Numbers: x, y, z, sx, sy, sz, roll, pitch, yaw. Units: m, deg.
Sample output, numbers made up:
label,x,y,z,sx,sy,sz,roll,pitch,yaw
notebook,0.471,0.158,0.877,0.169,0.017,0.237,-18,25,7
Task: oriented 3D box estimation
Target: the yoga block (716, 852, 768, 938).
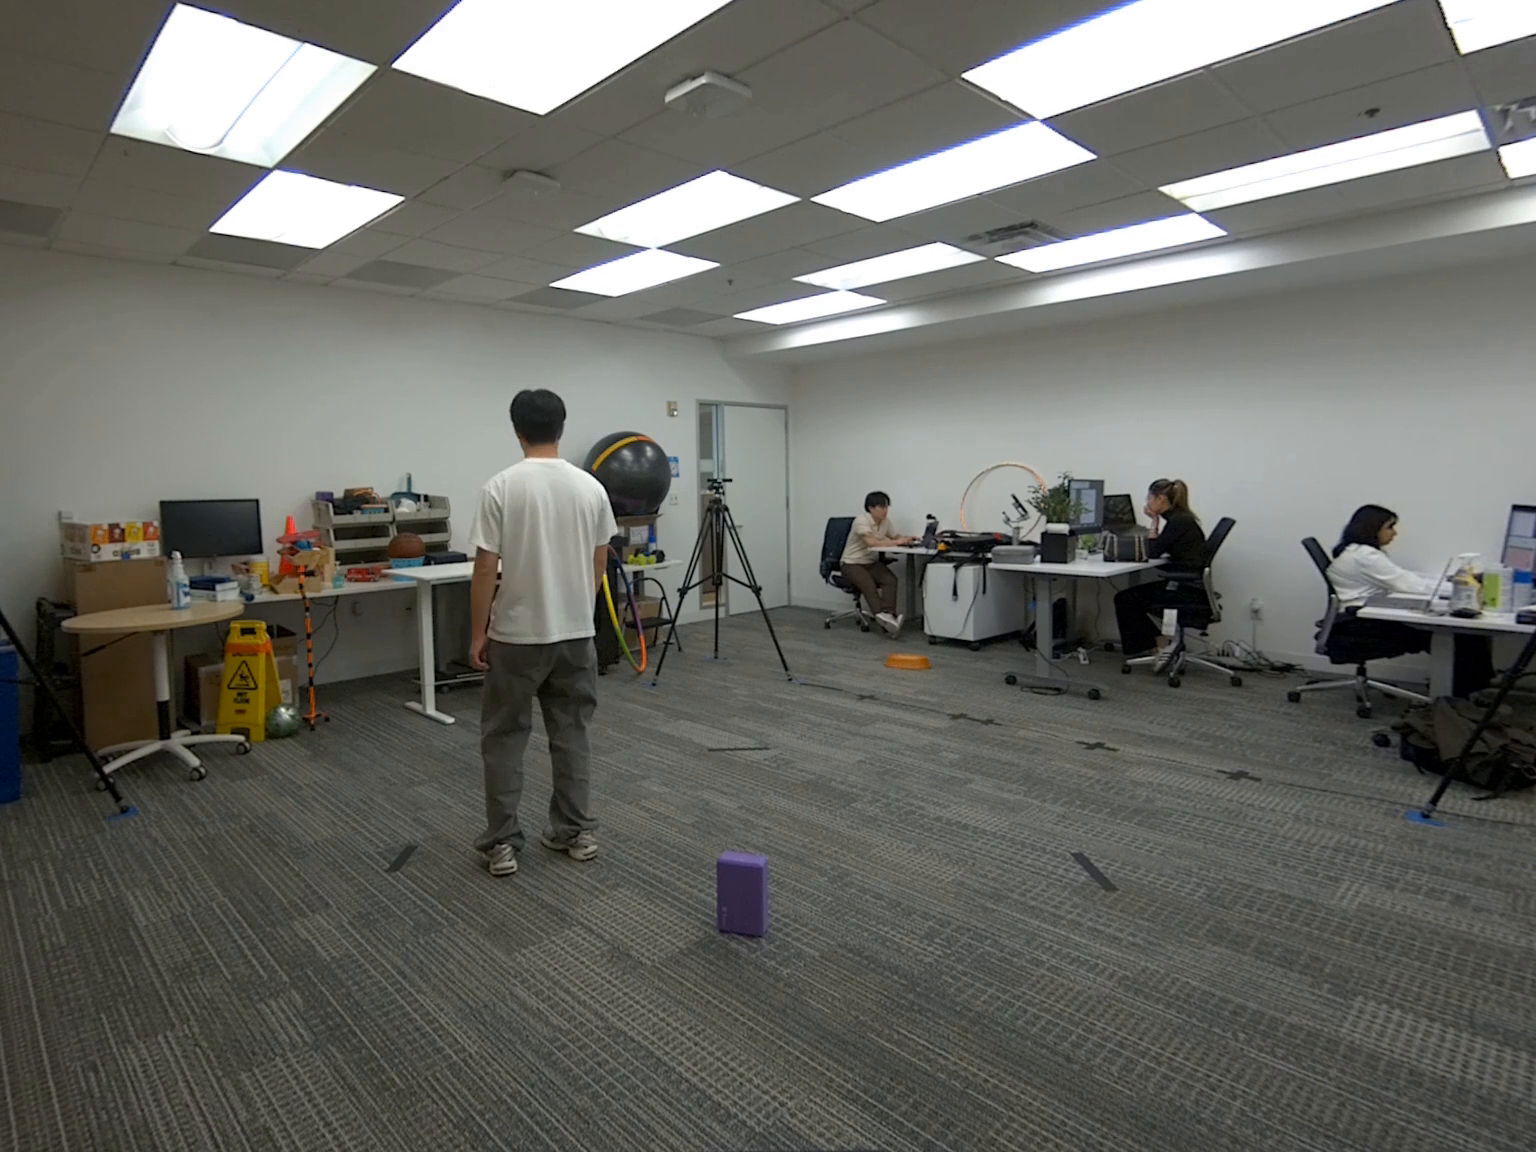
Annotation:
label,x,y,z,sx,sy,sz,roll,pitch,yaw
yoga block,-0.072,0.984,2.649,0.151,0.228,0.075,0,4,17
